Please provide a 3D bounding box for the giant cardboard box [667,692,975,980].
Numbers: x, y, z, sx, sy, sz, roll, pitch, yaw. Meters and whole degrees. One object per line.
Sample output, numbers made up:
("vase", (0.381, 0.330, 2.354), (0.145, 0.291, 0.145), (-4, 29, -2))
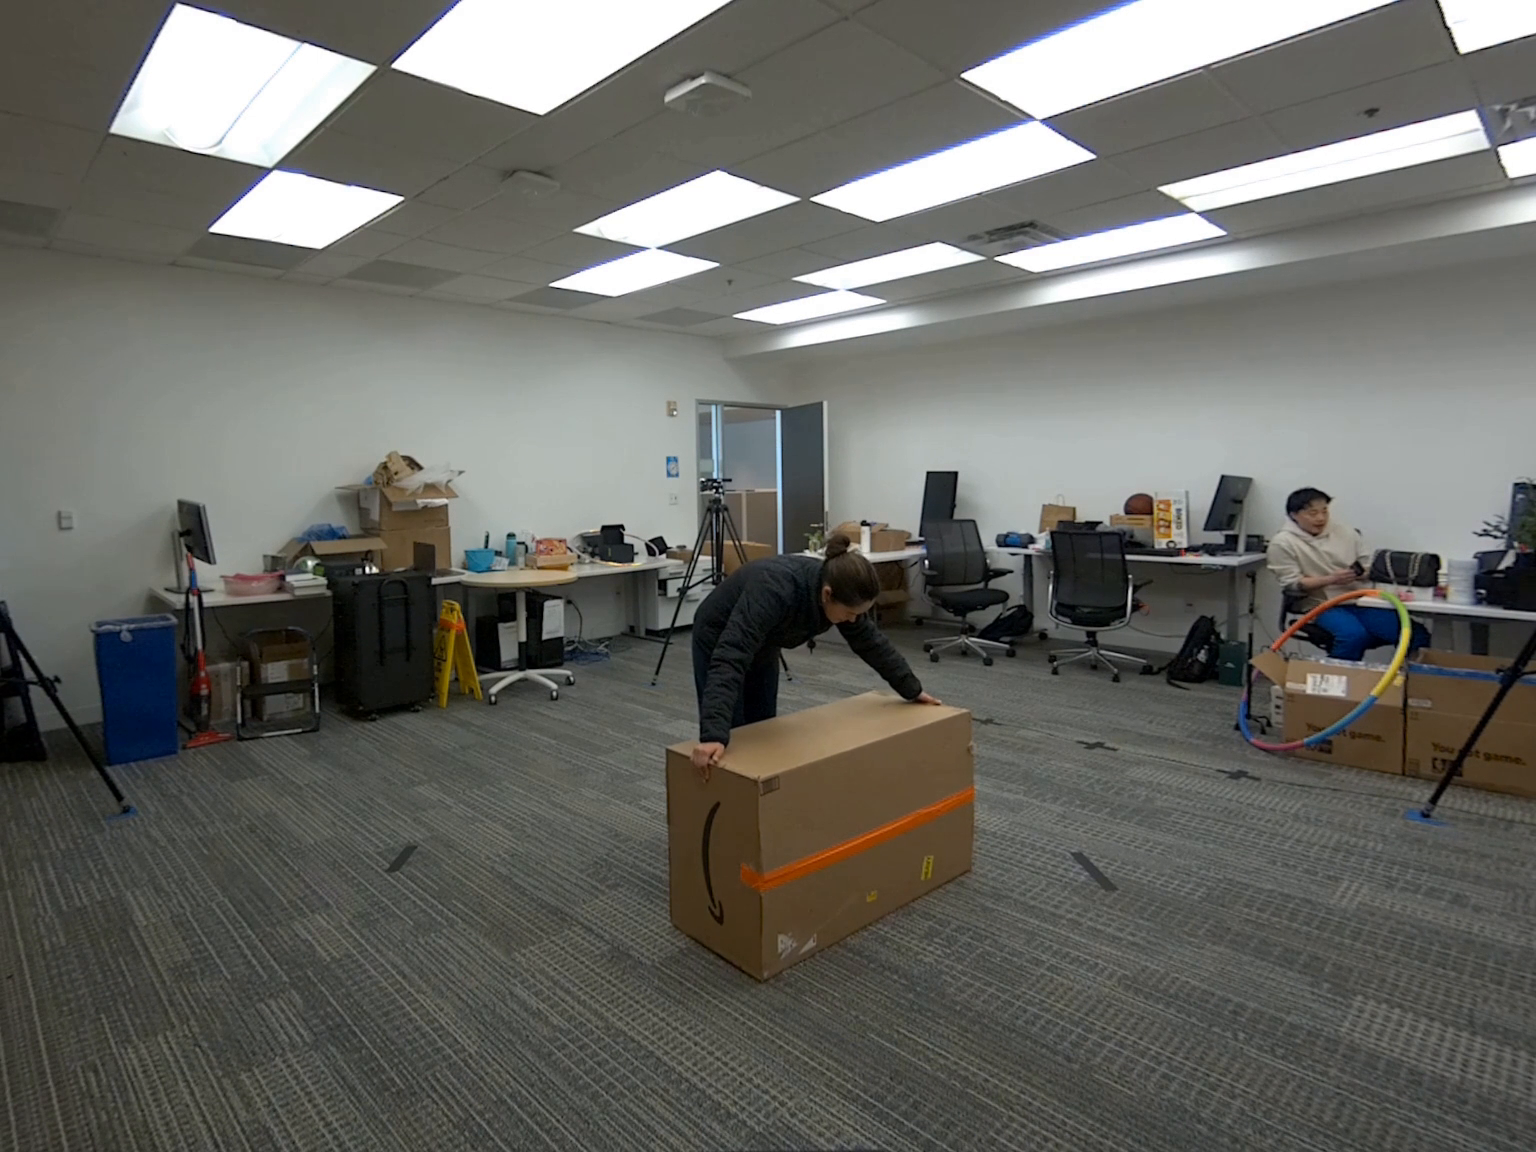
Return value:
("giant cardboard box", (0.205, 0.779, 2.842), (1.000, 0.582, 0.460), (-6, 6, -41))
